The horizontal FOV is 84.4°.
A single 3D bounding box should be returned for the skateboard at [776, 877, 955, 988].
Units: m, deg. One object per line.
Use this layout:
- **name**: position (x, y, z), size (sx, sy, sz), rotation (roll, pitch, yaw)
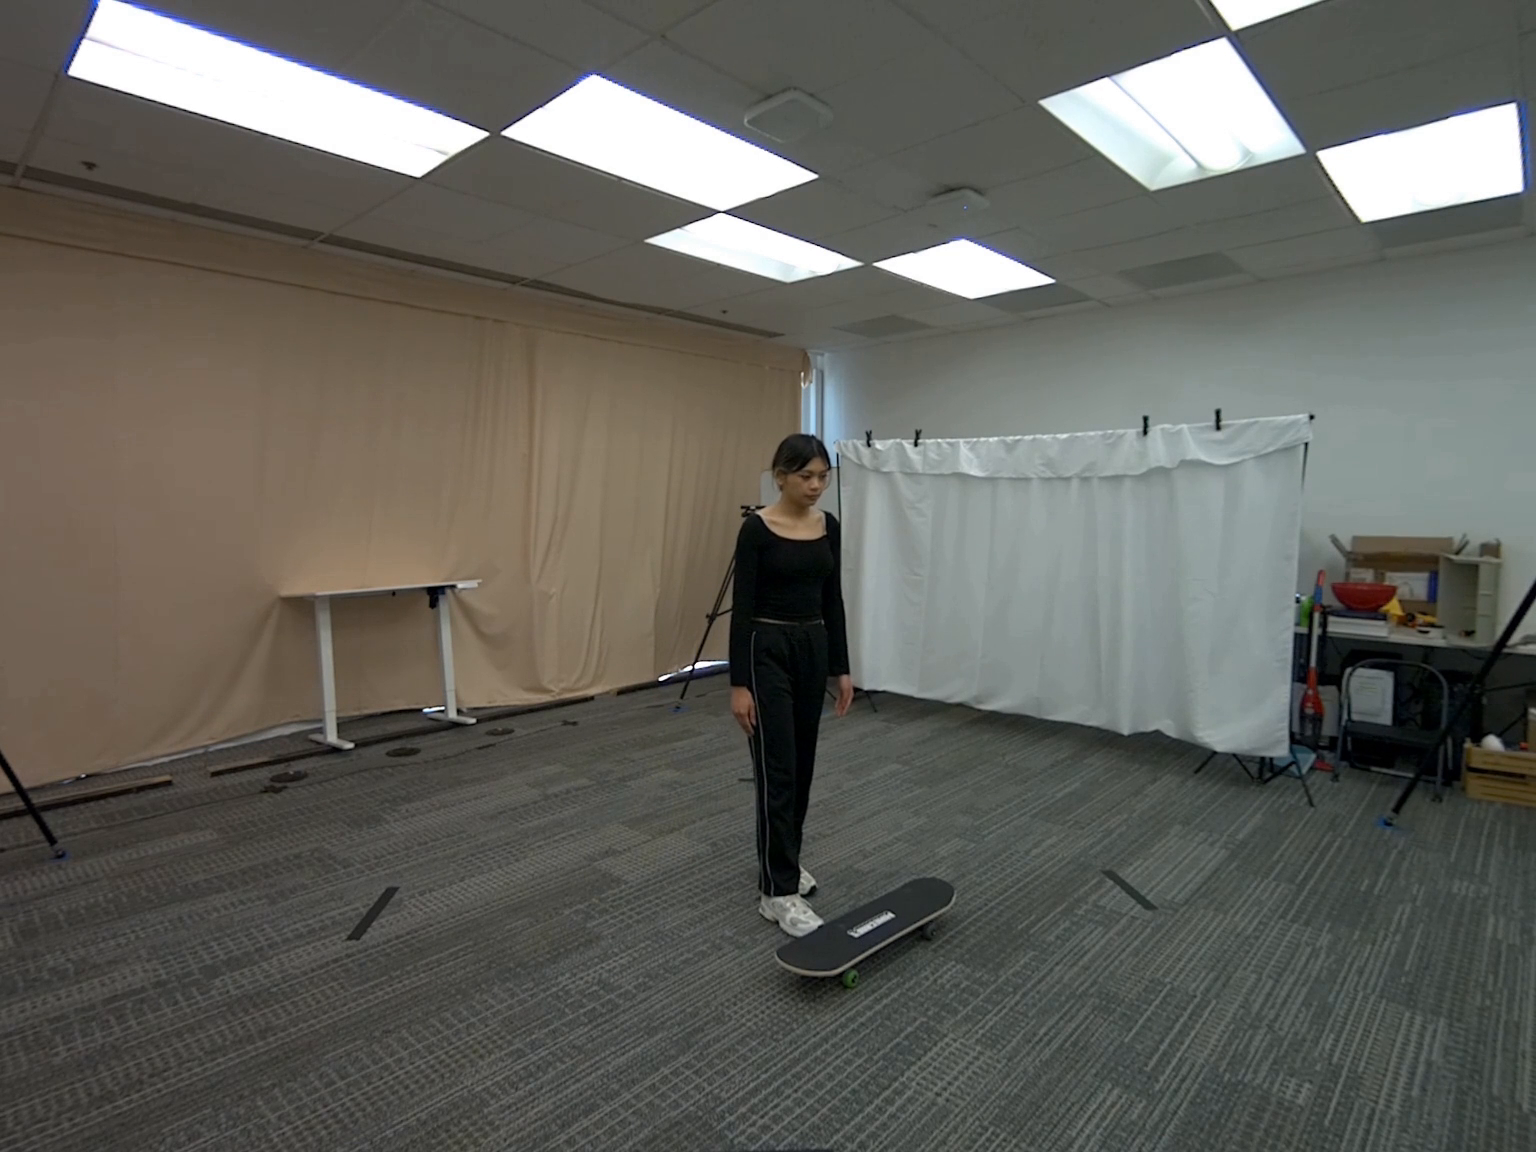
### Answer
- **skateboard**: position (0.332, 1.125, 2.611), size (0.761, 0.110, 0.200), rotation (-4, 7, -43)
